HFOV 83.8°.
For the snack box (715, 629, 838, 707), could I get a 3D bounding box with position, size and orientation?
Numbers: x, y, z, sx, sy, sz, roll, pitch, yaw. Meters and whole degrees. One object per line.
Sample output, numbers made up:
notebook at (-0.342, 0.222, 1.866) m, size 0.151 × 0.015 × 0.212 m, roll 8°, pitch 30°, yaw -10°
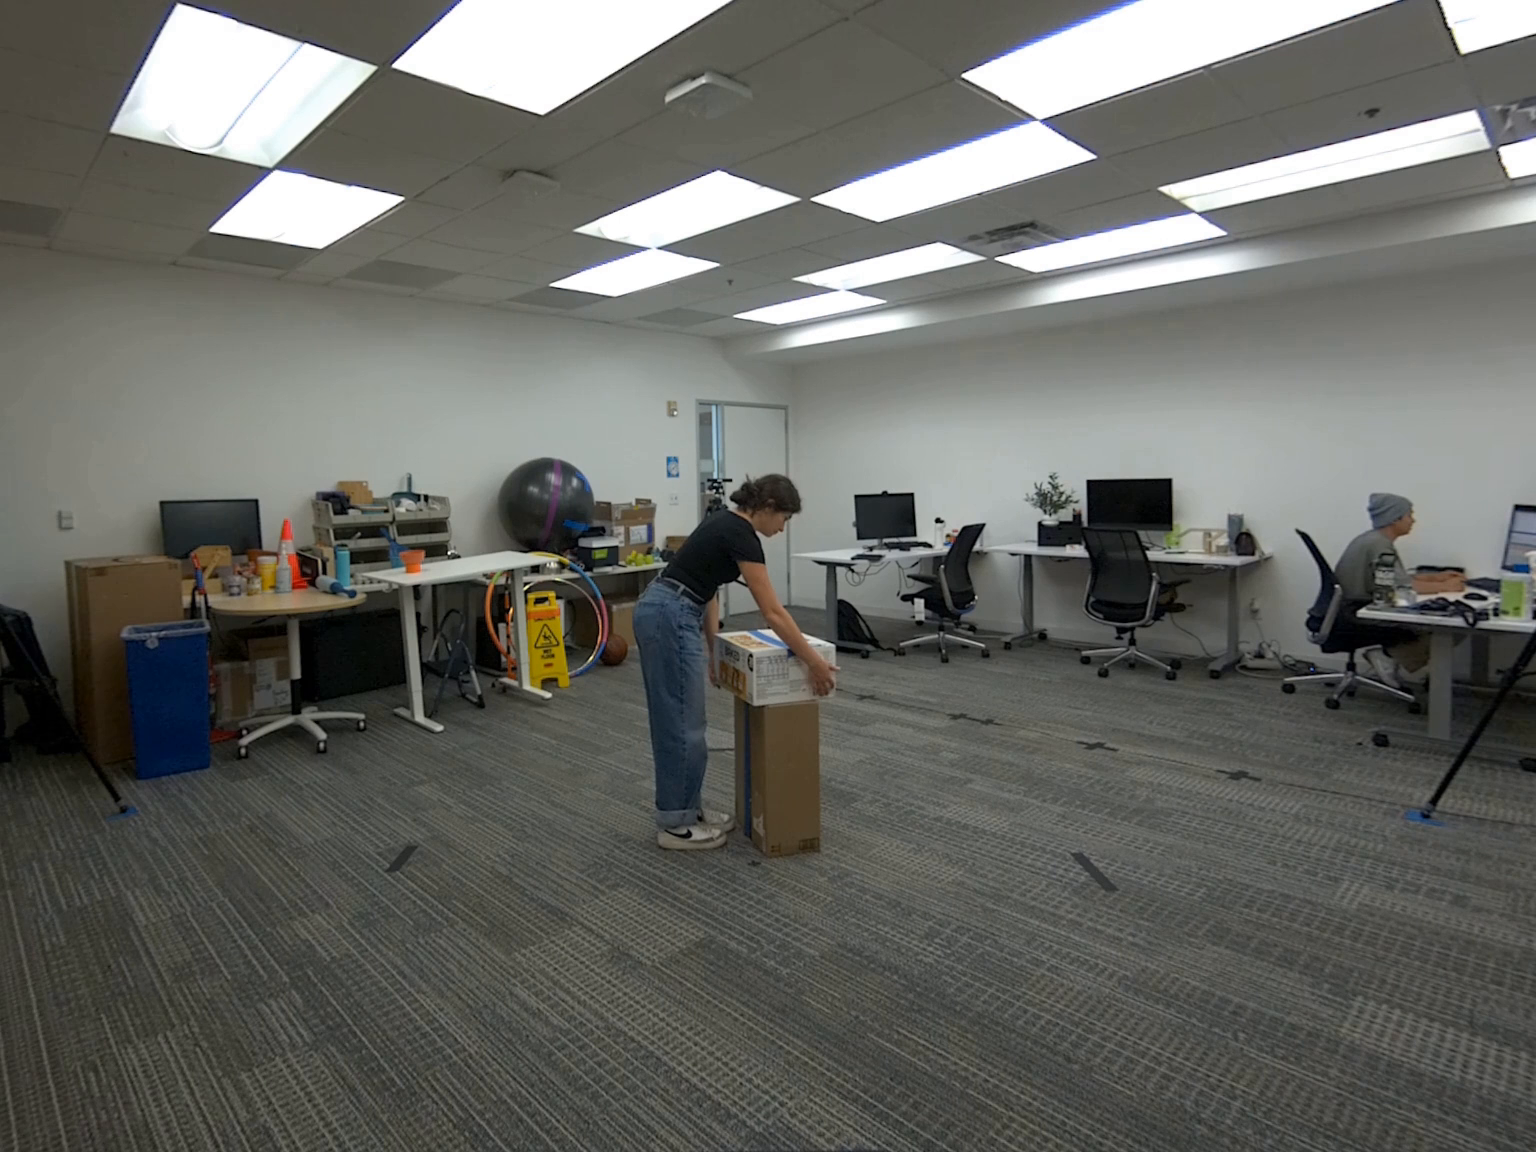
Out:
snack box at (0.018, 0.347, 3.346) m, size 0.334 × 0.205 × 0.415 m, roll -3°, pitch 6°, yaw -23°
